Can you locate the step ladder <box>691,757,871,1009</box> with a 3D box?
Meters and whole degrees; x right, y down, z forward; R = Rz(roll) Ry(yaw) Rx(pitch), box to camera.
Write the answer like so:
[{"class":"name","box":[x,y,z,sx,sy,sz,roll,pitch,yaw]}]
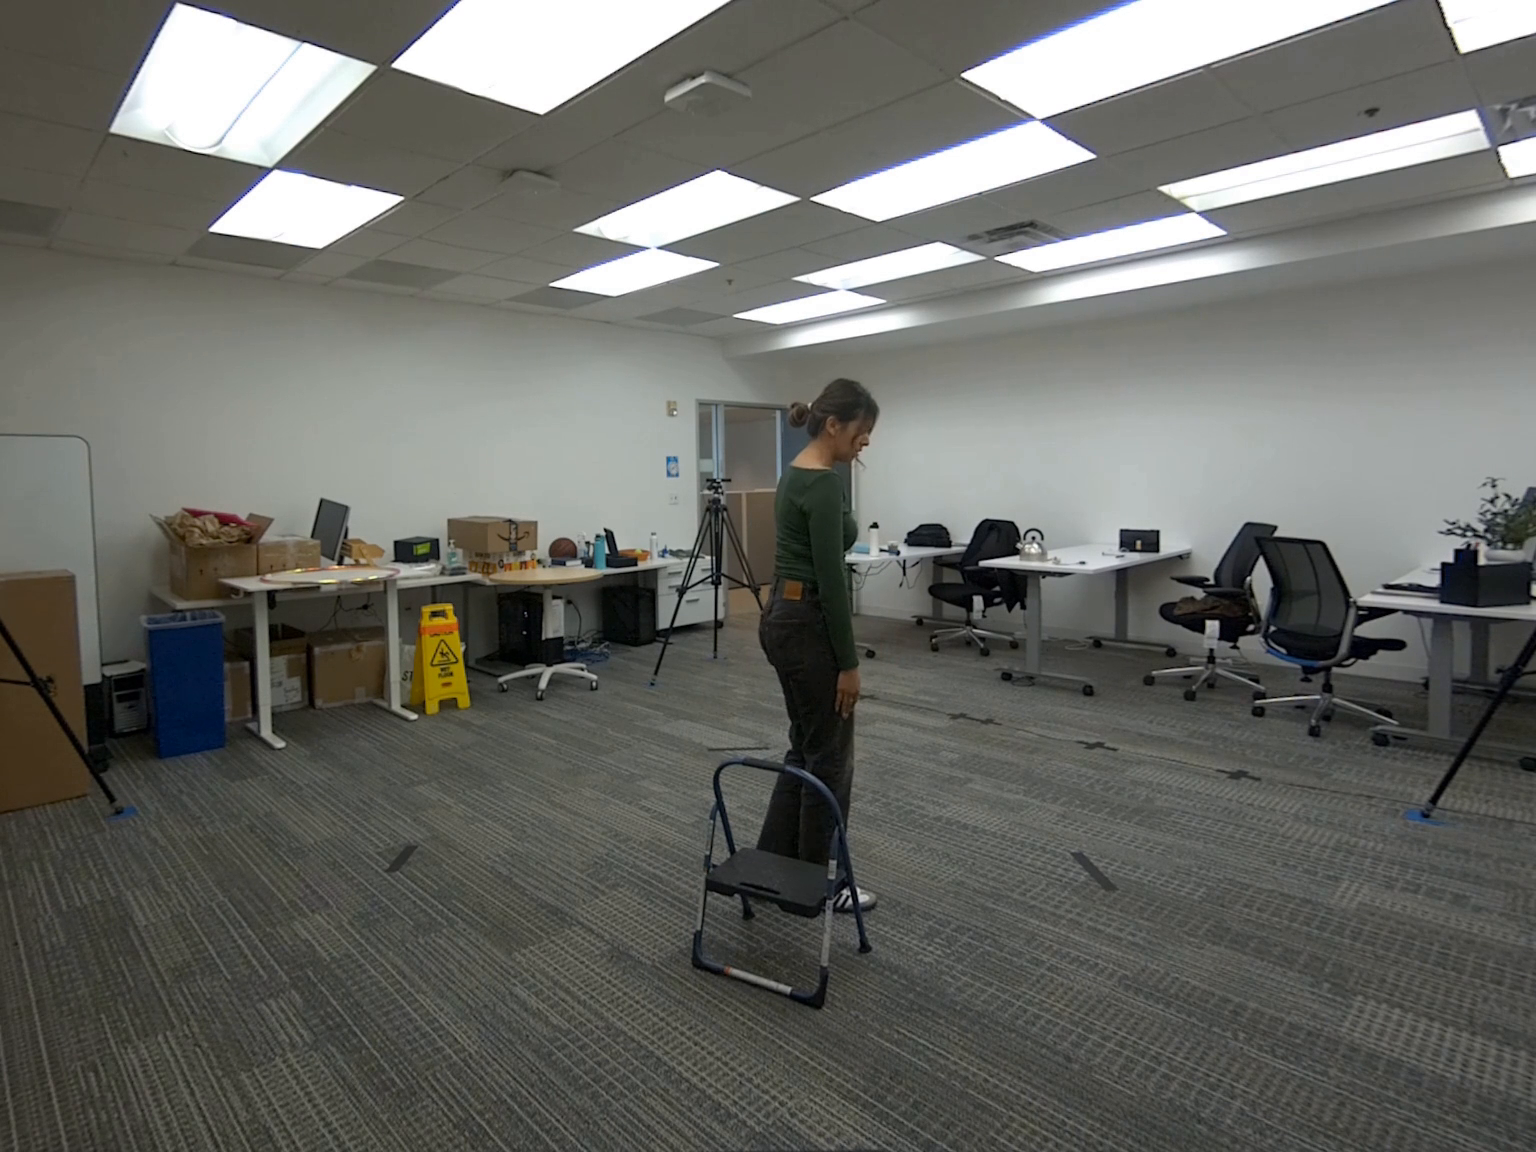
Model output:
[{"class":"step ladder","box":[0.036,0.814,2.474,0.442,0.604,0.342,1,5,29]}]
